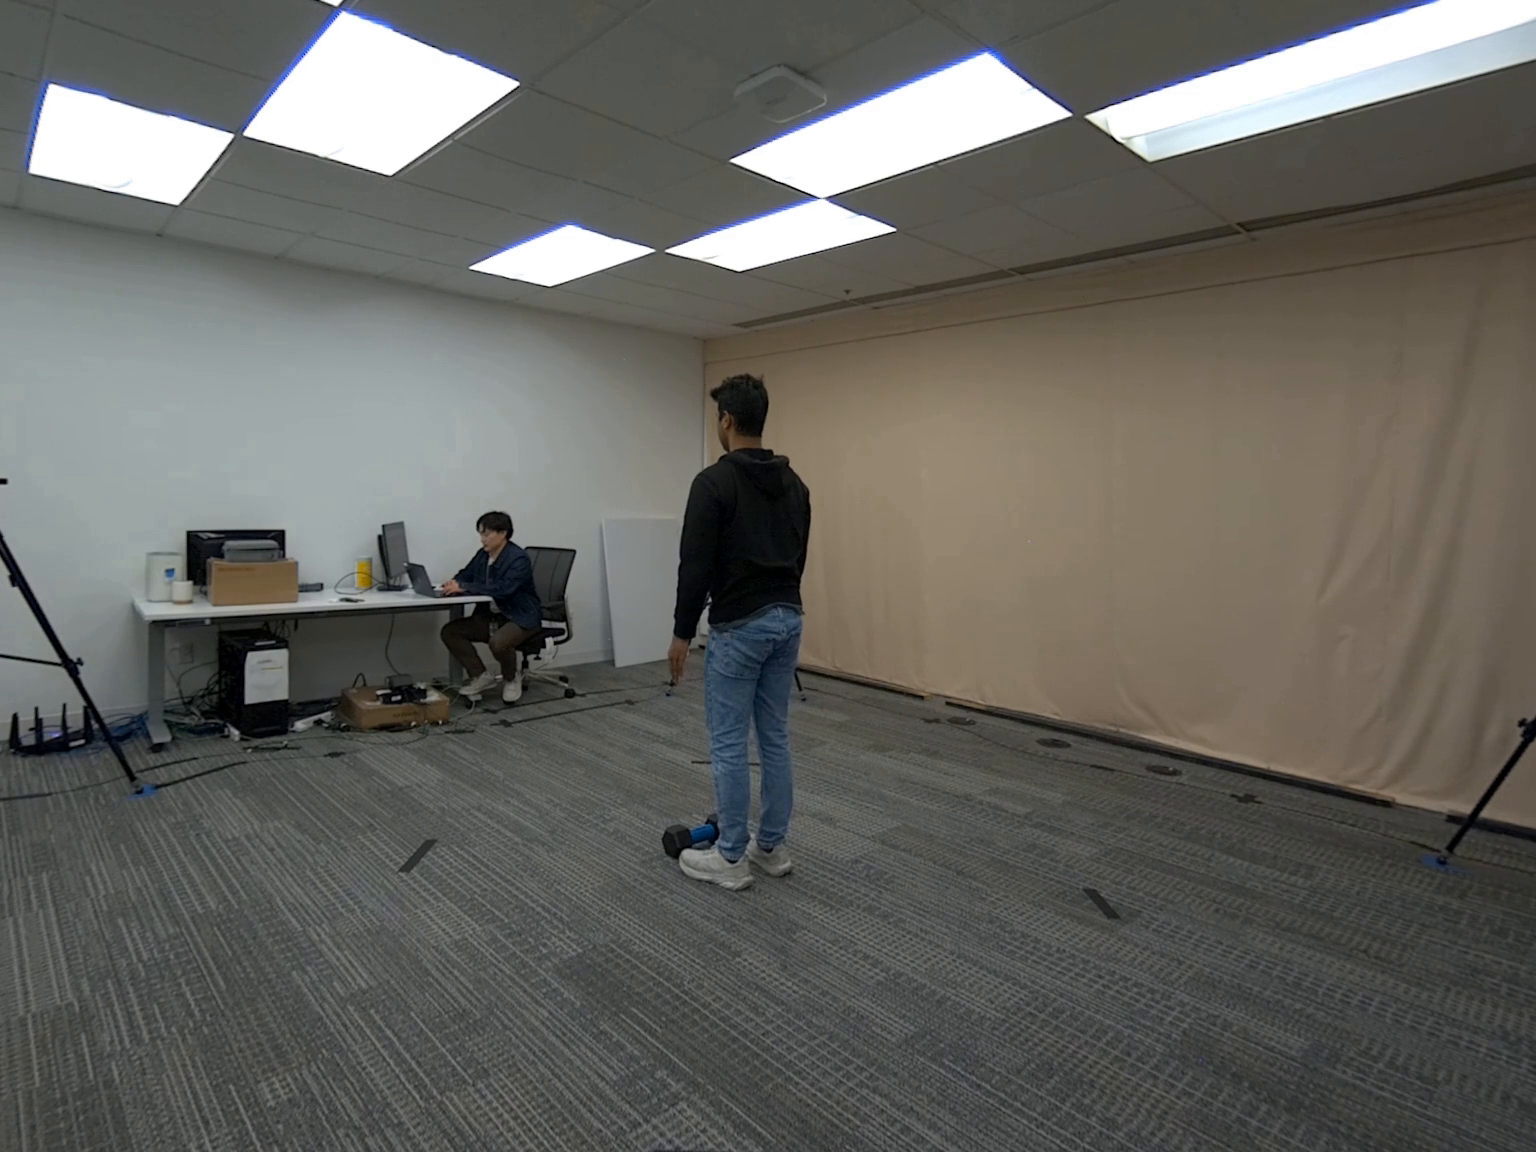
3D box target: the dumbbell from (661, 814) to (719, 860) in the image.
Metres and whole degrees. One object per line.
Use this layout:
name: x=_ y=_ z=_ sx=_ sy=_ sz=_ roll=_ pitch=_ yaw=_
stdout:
dumbbell: x=-0.283 y=1.028 z=3.339 sx=0.287 sy=0.125 sz=0.109 roll=-3 pitch=-27 yaw=-42
